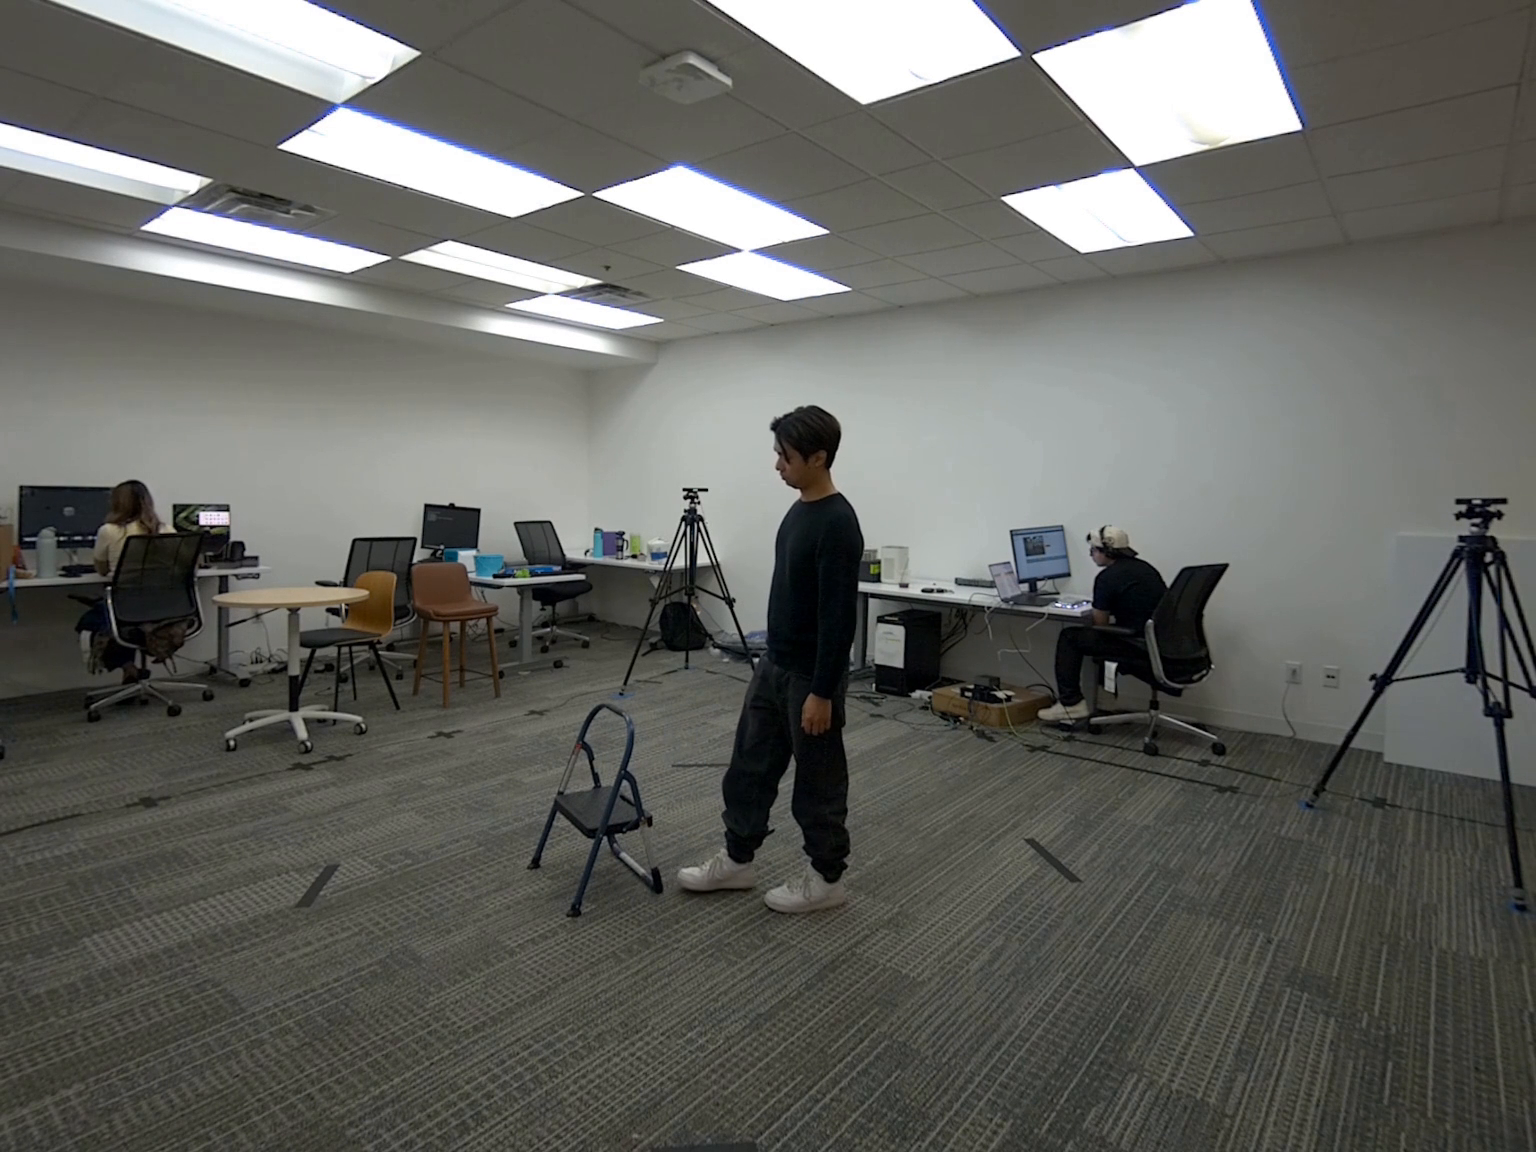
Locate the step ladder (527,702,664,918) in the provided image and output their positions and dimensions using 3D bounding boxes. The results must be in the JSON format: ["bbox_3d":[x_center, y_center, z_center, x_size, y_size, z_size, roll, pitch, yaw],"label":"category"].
[{"bbox_3d":[-0.622,0.770,2.994,0.339,0.604,0.444,-1,4,-33],"label":"step ladder"}]
